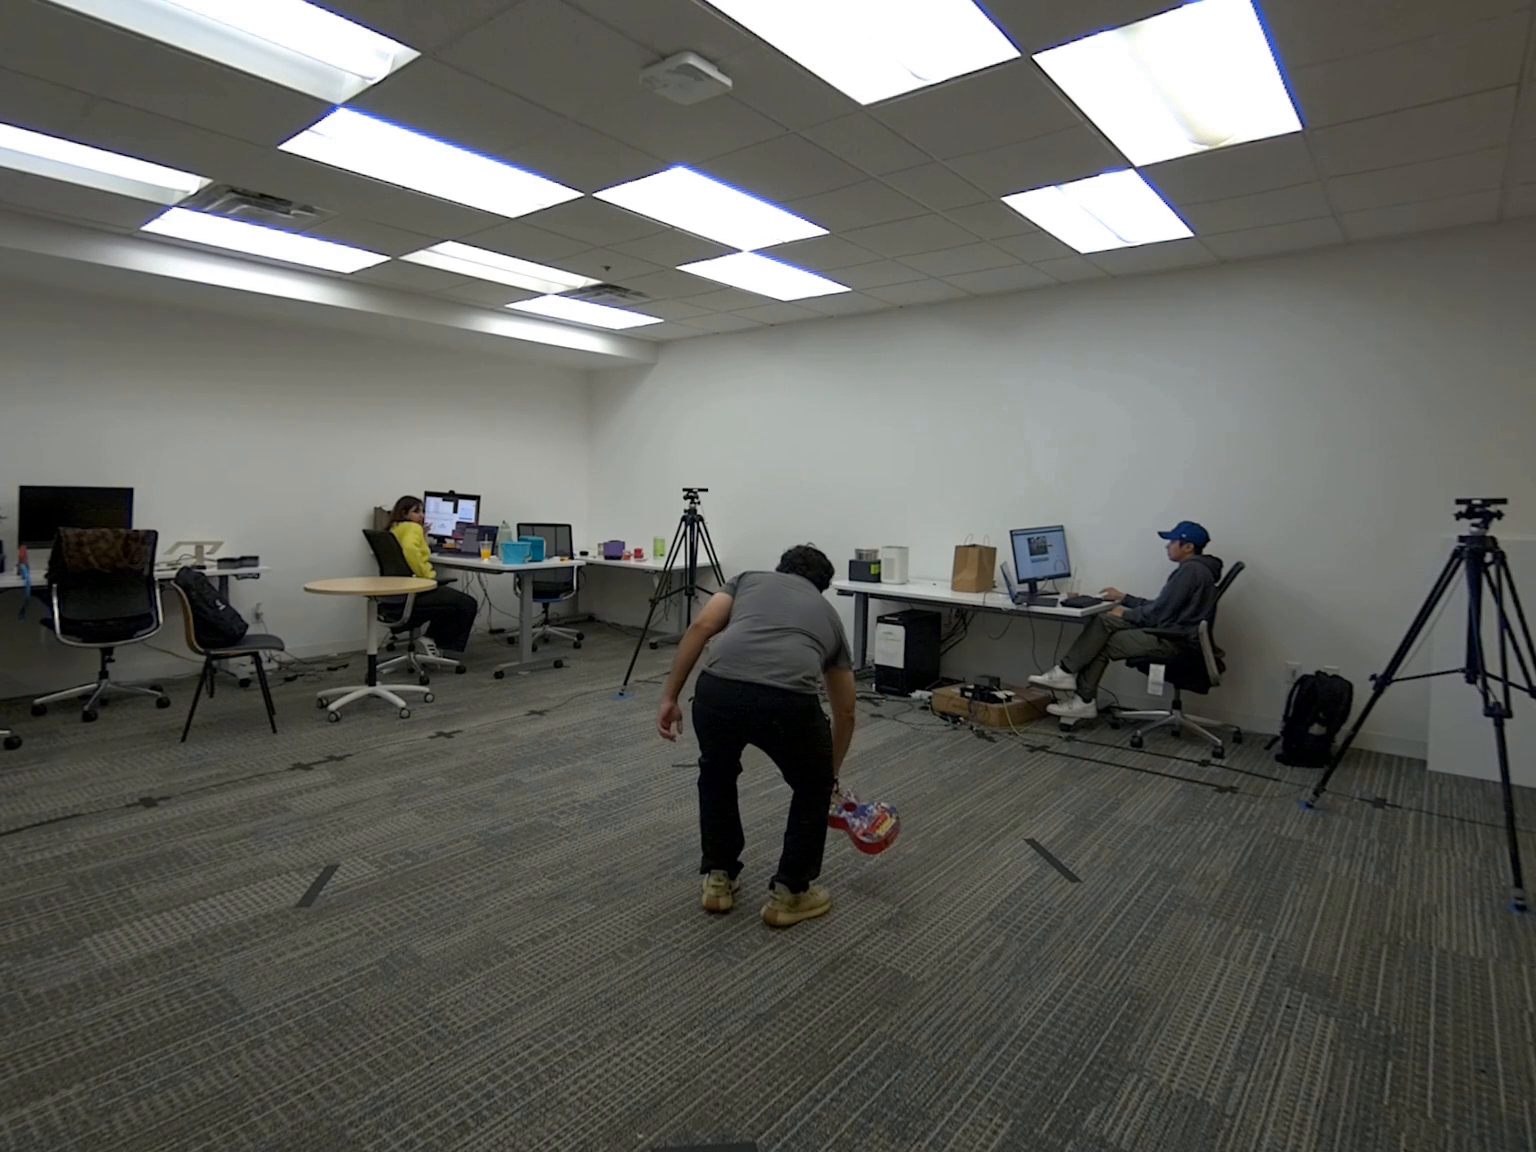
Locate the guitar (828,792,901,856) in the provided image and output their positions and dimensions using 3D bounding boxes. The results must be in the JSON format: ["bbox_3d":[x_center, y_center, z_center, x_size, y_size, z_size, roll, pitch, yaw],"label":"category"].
[{"bbox_3d":[0.249,0.802,3.069,0.190,0.069,0.519,-25,36,-31],"label":"guitar"}]
